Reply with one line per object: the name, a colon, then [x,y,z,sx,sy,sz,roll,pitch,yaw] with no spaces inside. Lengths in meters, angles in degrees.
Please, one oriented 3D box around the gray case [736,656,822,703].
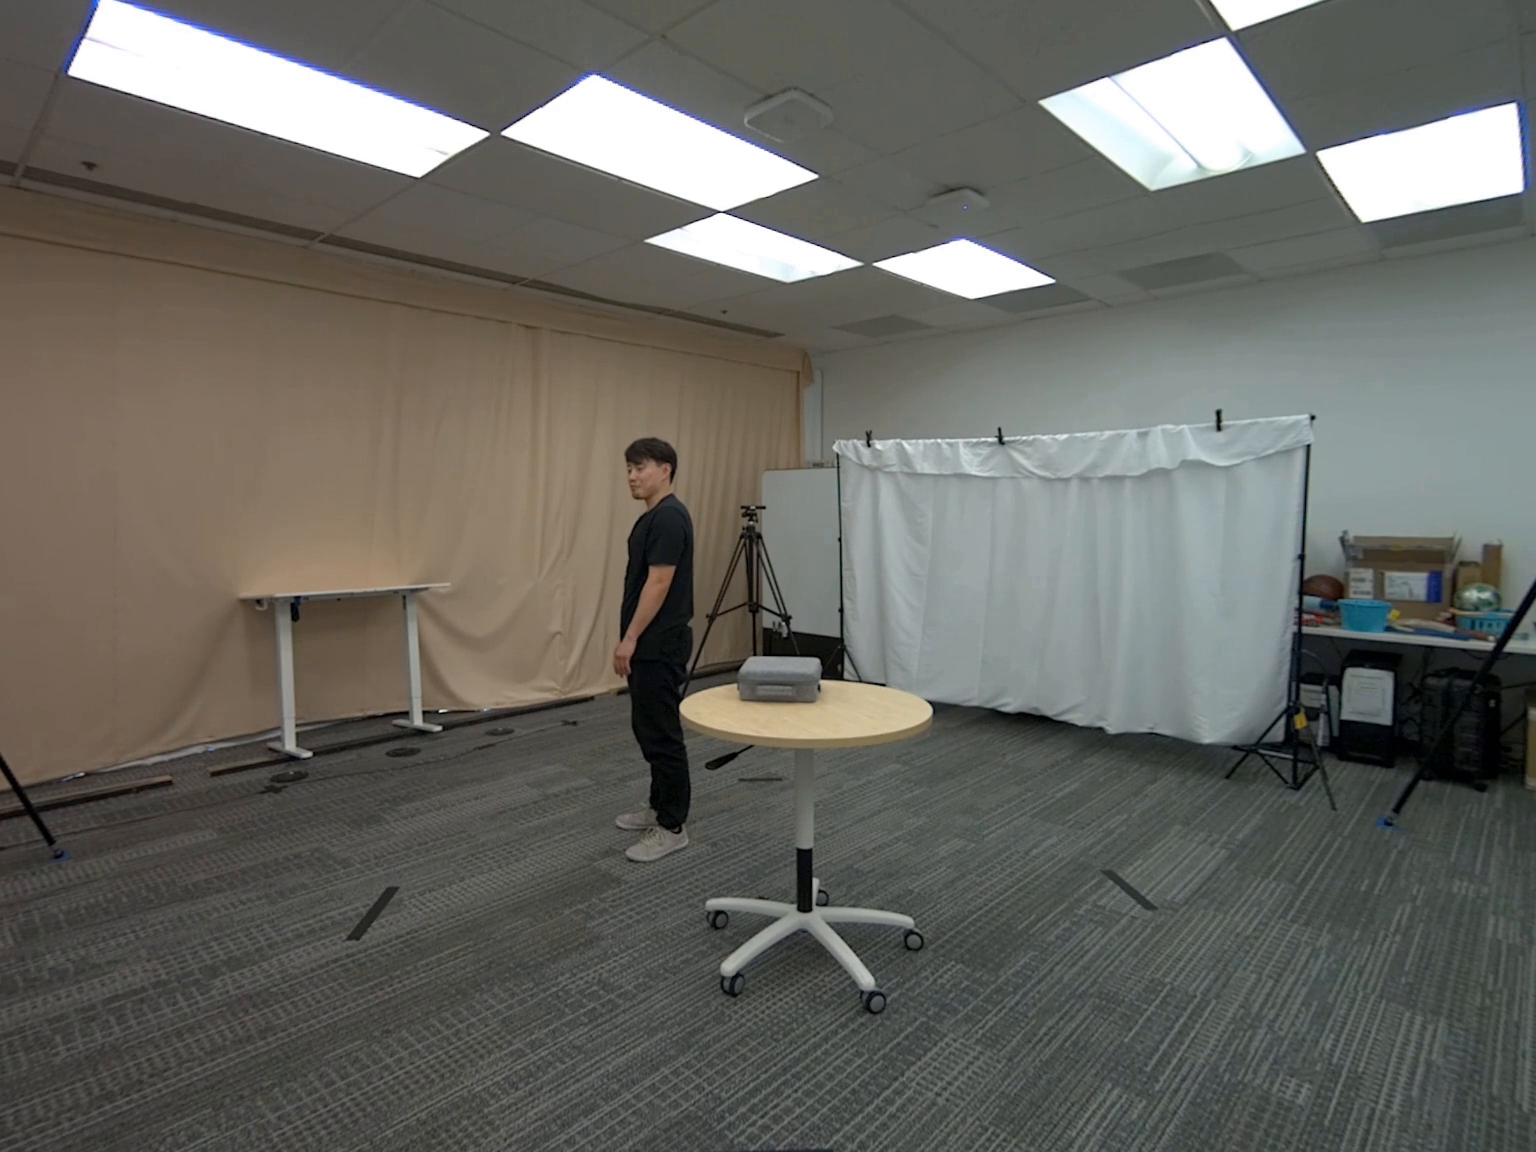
gray case: [0.041,0.331,2.729,0.260,0.104,0.259,1,6,9]
